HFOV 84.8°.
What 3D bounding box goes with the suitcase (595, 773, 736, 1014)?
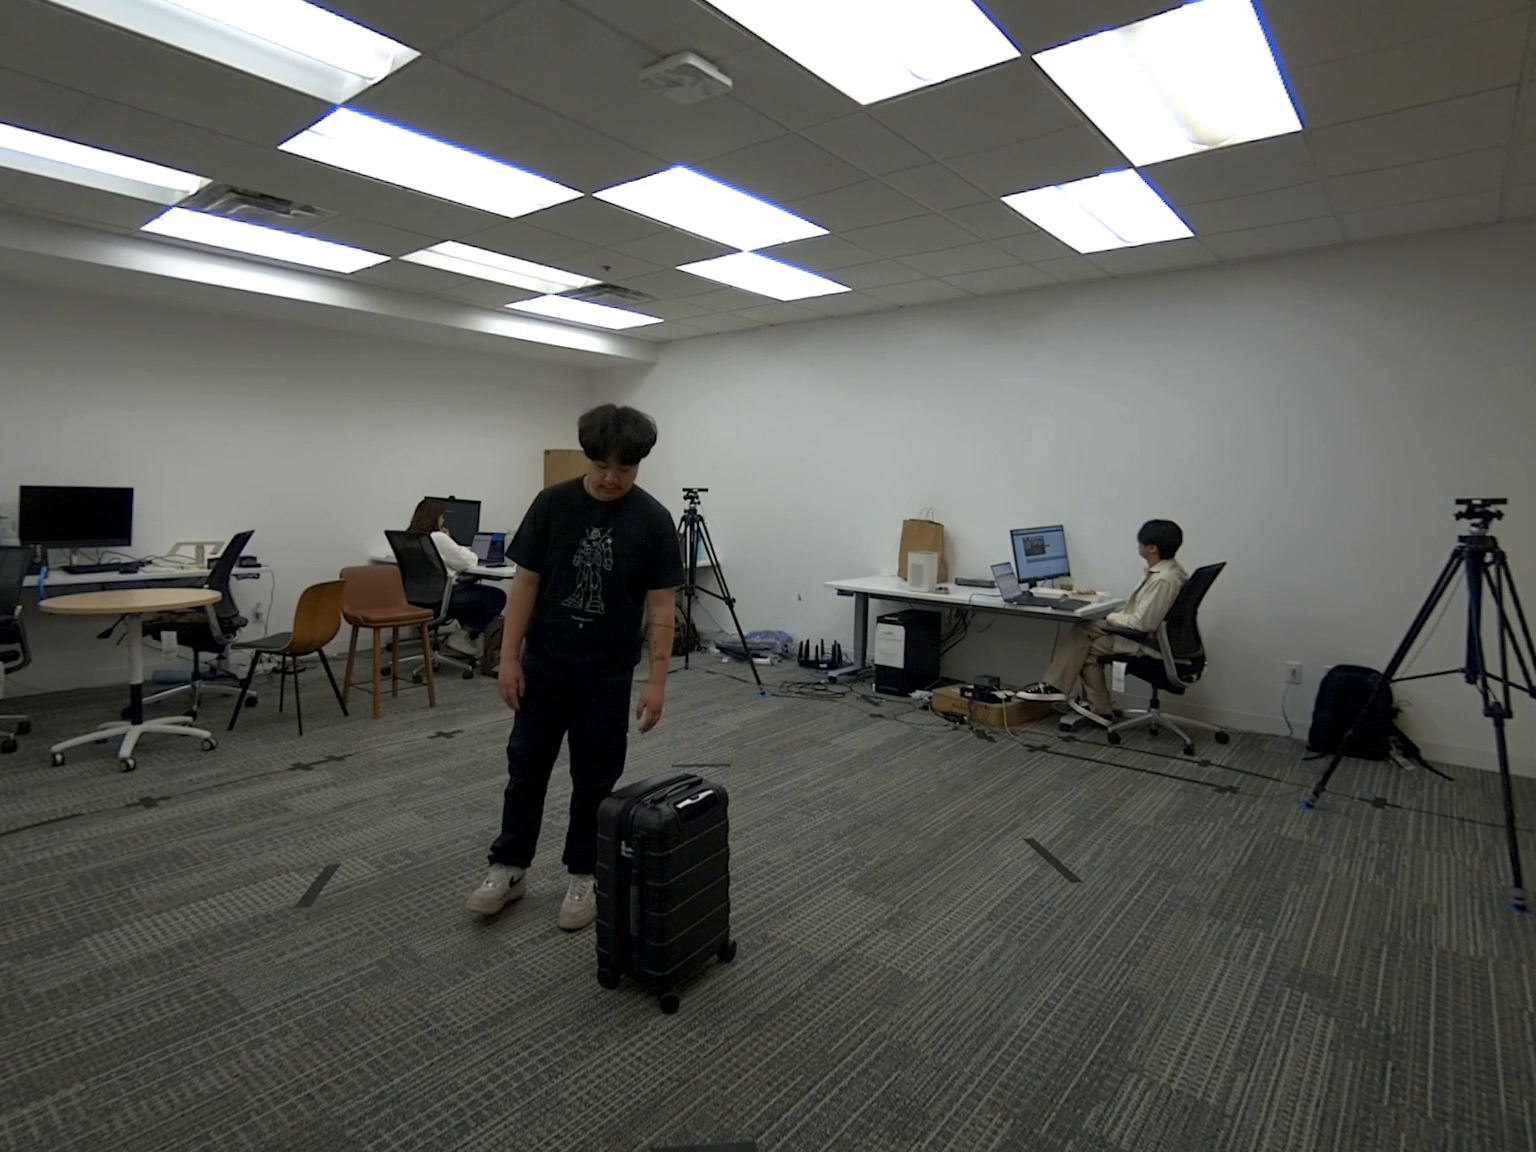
[{"bbox_3d":[-0.301,0.860,2.426,0.256,0.548,0.365,1,4,33],"label":"suitcase"}]
